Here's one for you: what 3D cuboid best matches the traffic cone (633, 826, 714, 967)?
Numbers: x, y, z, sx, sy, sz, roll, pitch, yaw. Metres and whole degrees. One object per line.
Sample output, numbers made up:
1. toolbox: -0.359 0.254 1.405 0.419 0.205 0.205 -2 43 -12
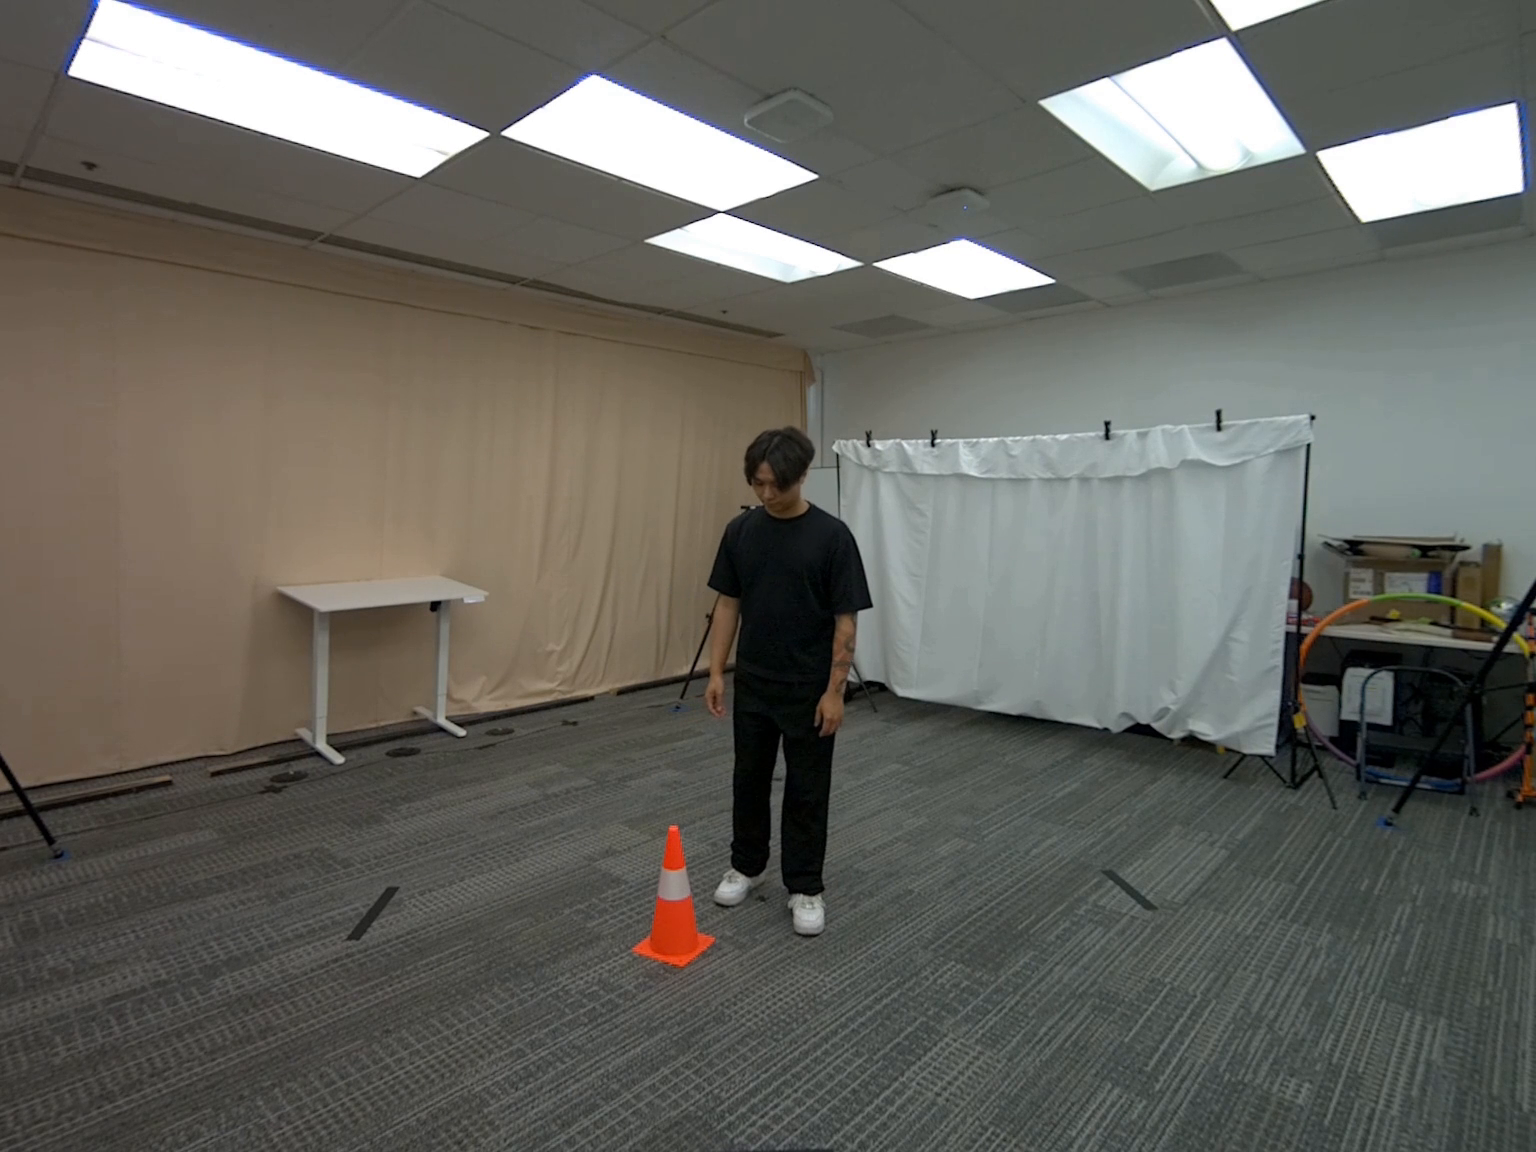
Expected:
1. traffic cone: -0.300 0.988 2.657 0.210 0.383 0.199 1 4 35
